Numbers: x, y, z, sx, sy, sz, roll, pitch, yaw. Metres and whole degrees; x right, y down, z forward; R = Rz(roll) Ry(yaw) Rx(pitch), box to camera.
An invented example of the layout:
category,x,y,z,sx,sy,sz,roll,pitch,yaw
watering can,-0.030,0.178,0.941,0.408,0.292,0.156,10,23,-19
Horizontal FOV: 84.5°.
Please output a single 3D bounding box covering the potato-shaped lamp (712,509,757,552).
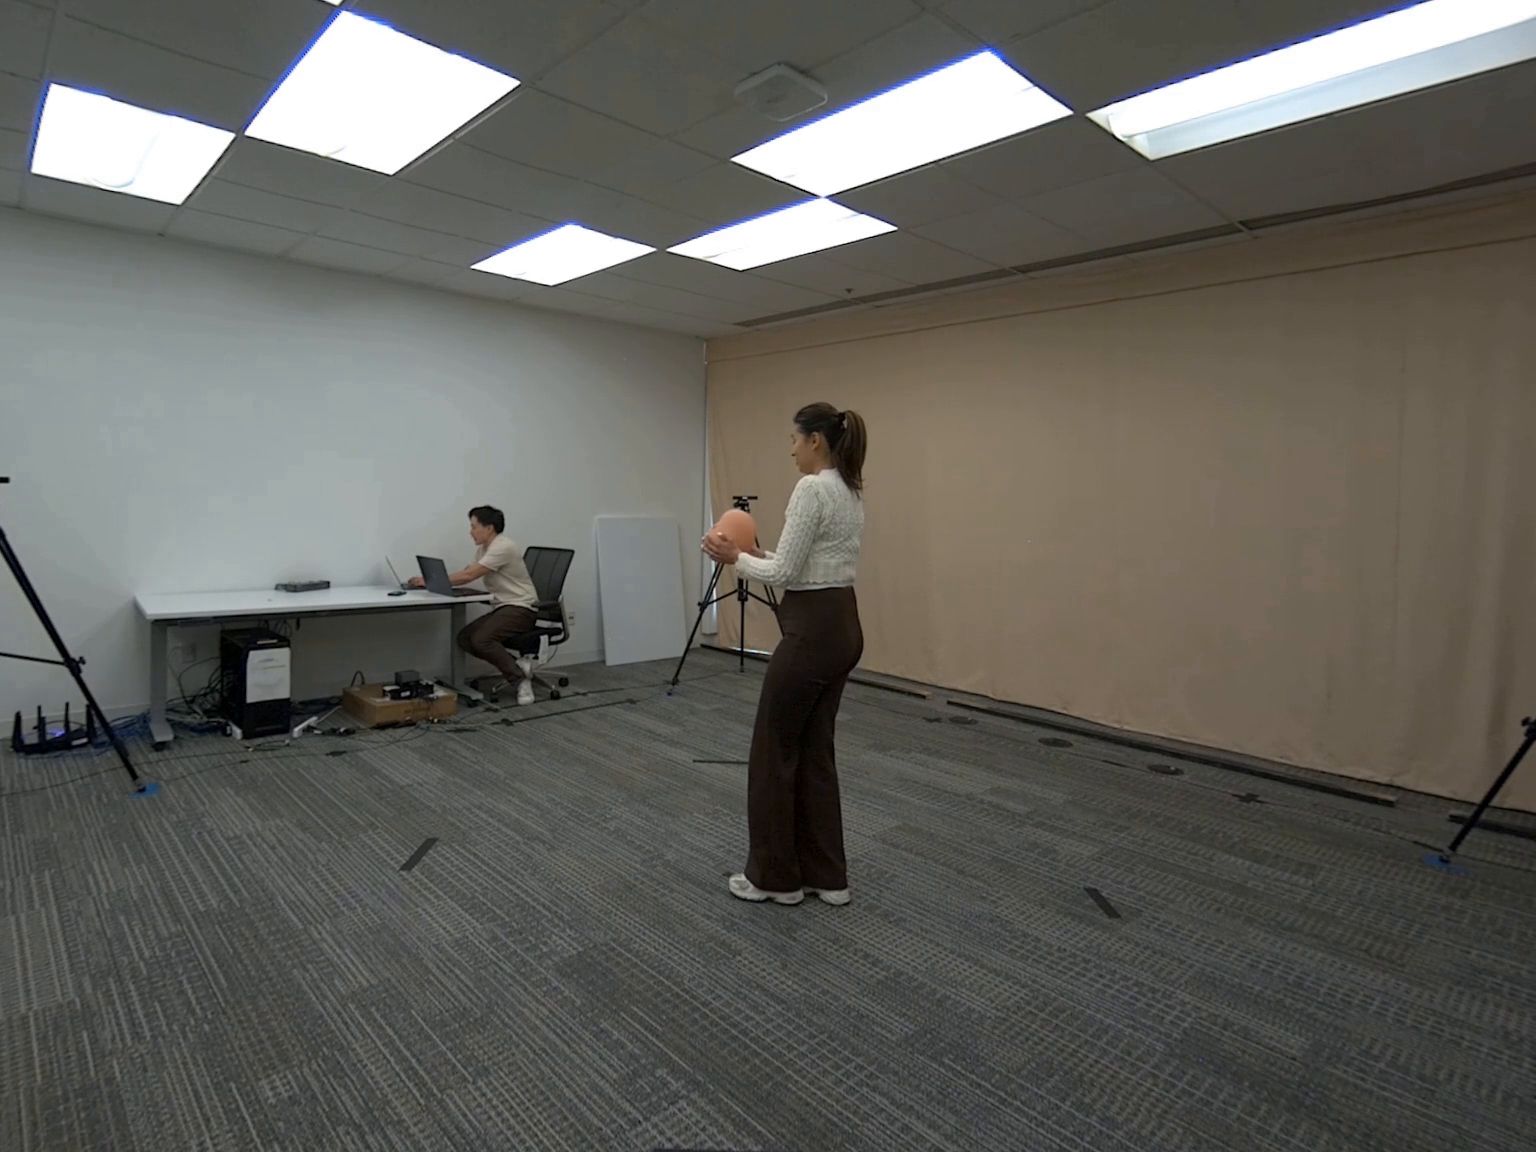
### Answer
category,x,y,z,sx,sy,sz,roll,pitch,yaw
potato-shaped lamp,-0.141,-0.148,3.074,0.175,0.198,0.161,19,-4,23
